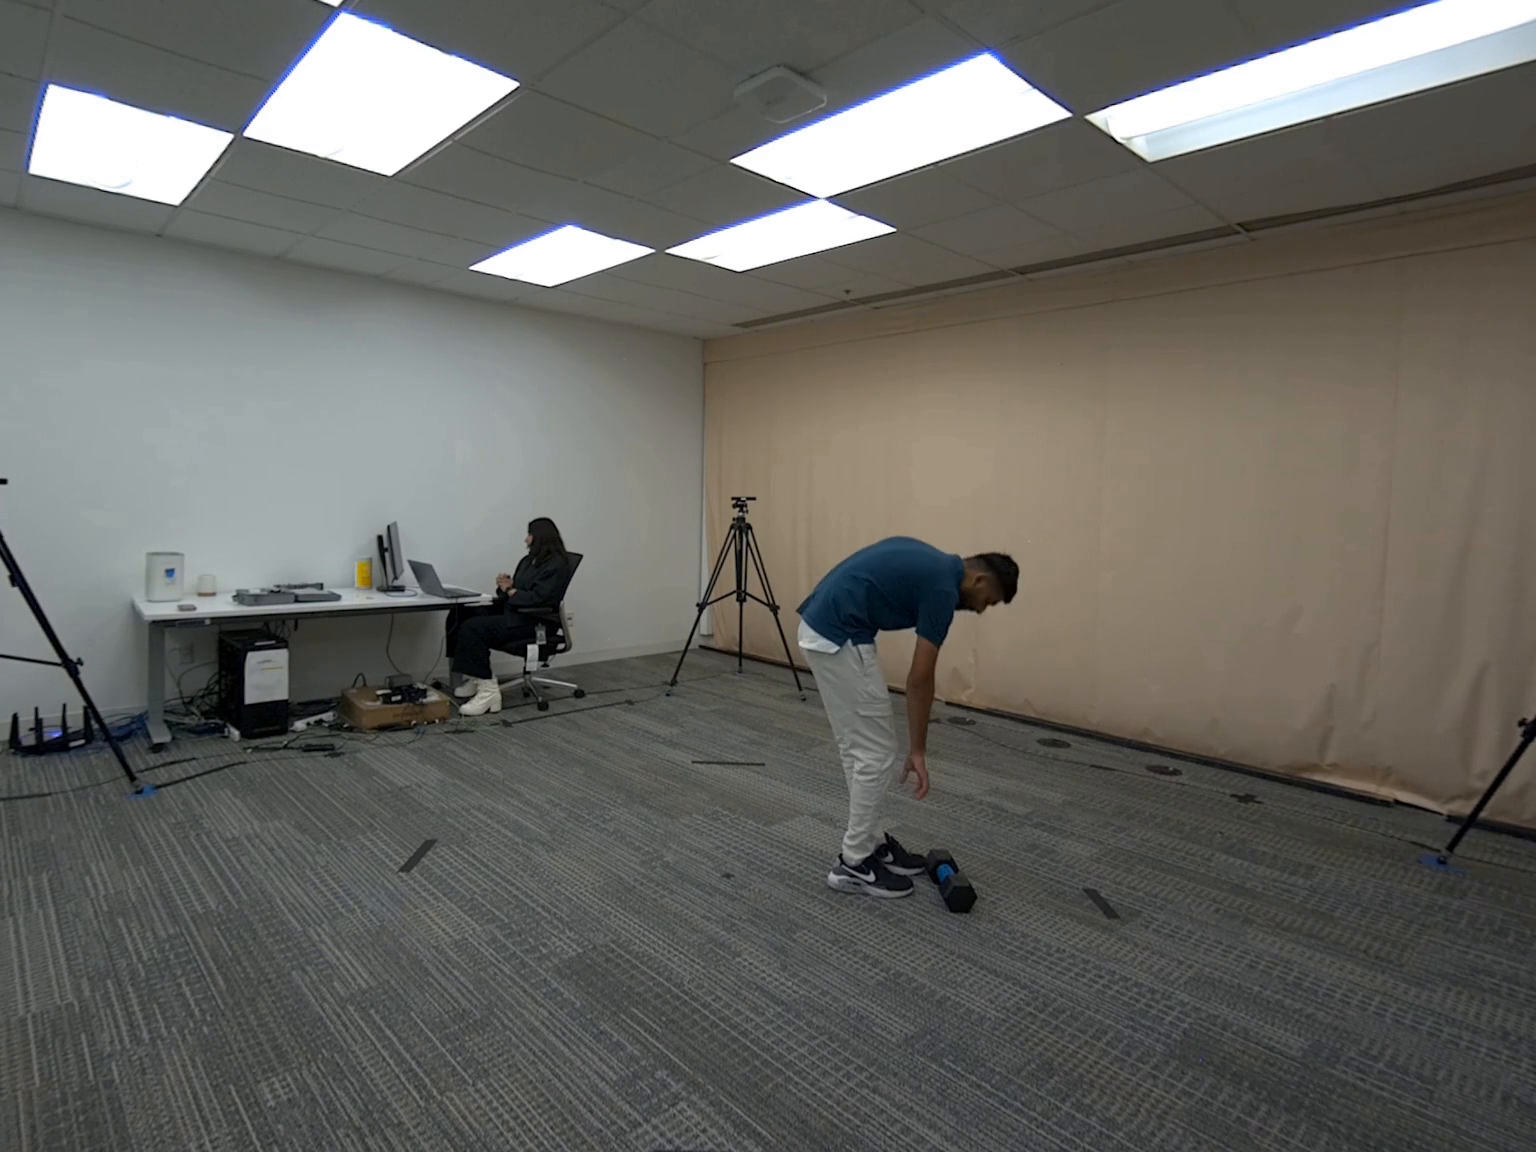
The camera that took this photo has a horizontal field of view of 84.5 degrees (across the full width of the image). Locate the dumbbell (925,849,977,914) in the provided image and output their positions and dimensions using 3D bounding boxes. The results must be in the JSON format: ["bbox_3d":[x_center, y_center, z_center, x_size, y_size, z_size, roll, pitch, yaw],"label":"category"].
[{"bbox_3d":[0.640,1.082,3.001,0.123,0.108,0.295,2,4,-3],"label":"dumbbell"}]
